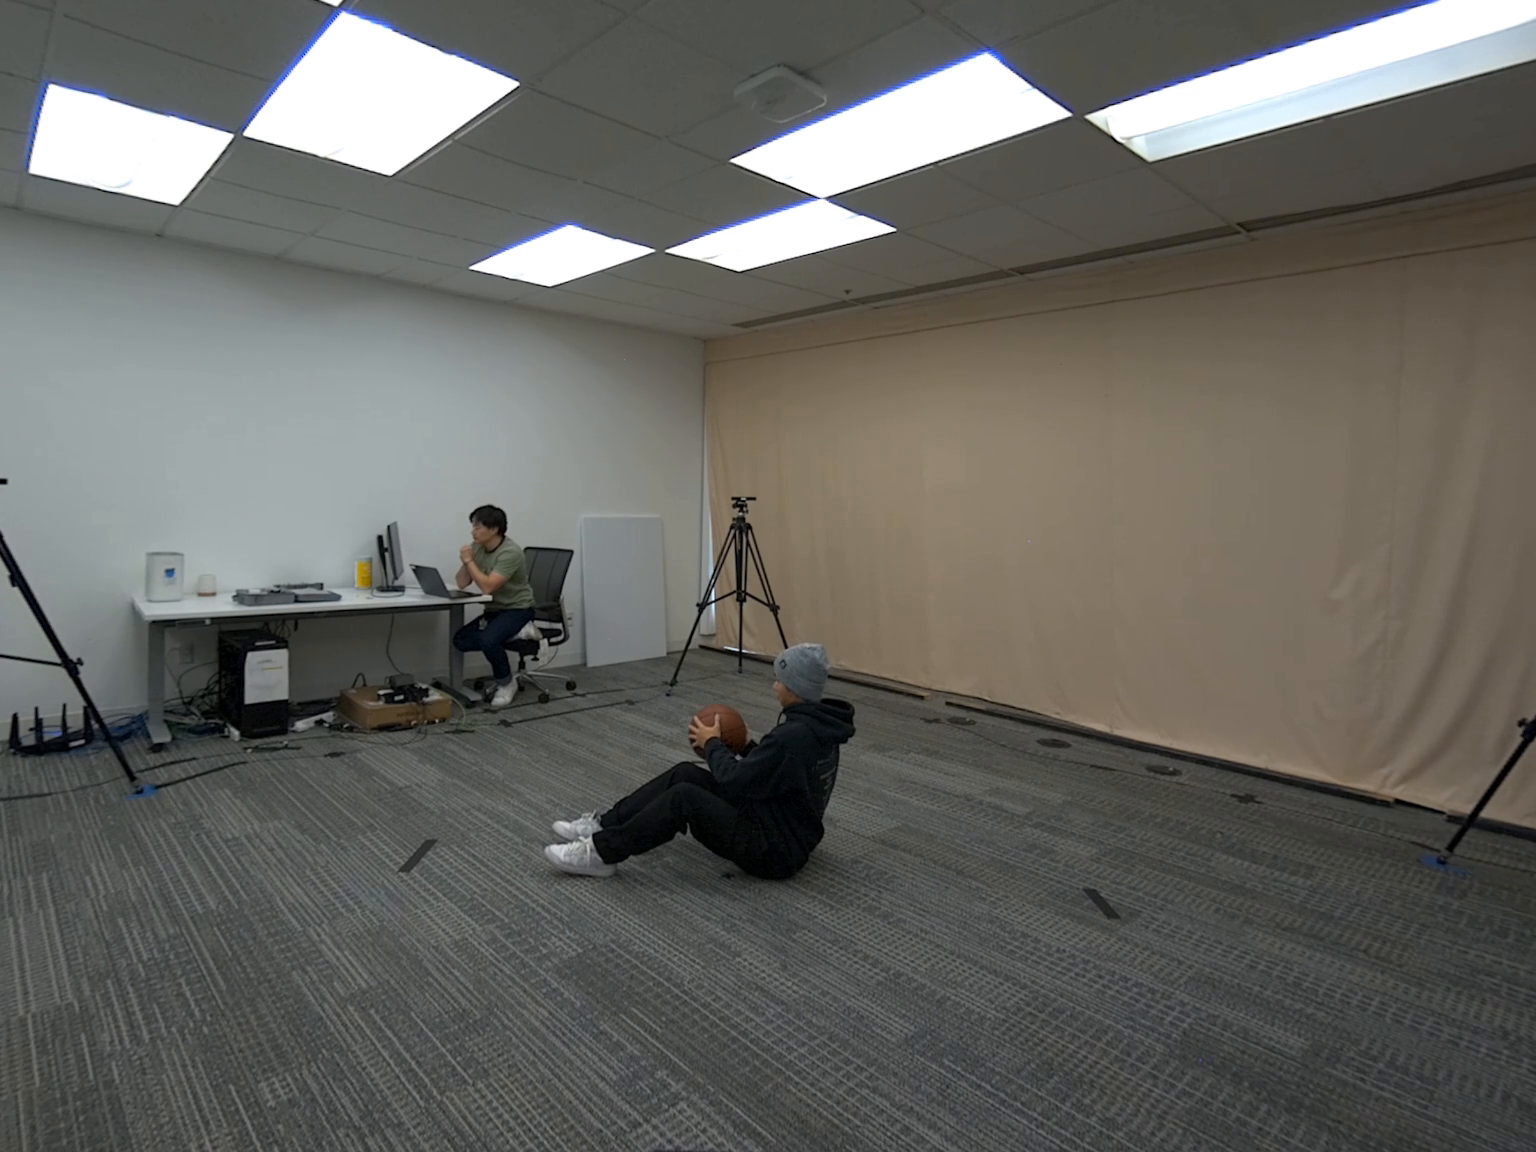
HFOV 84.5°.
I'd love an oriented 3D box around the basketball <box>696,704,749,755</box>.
[{"bbox_3d":[-0.207,0.649,3.468,0.236,0.235,0.237,1,4,-1],"label":"basketball"}]
